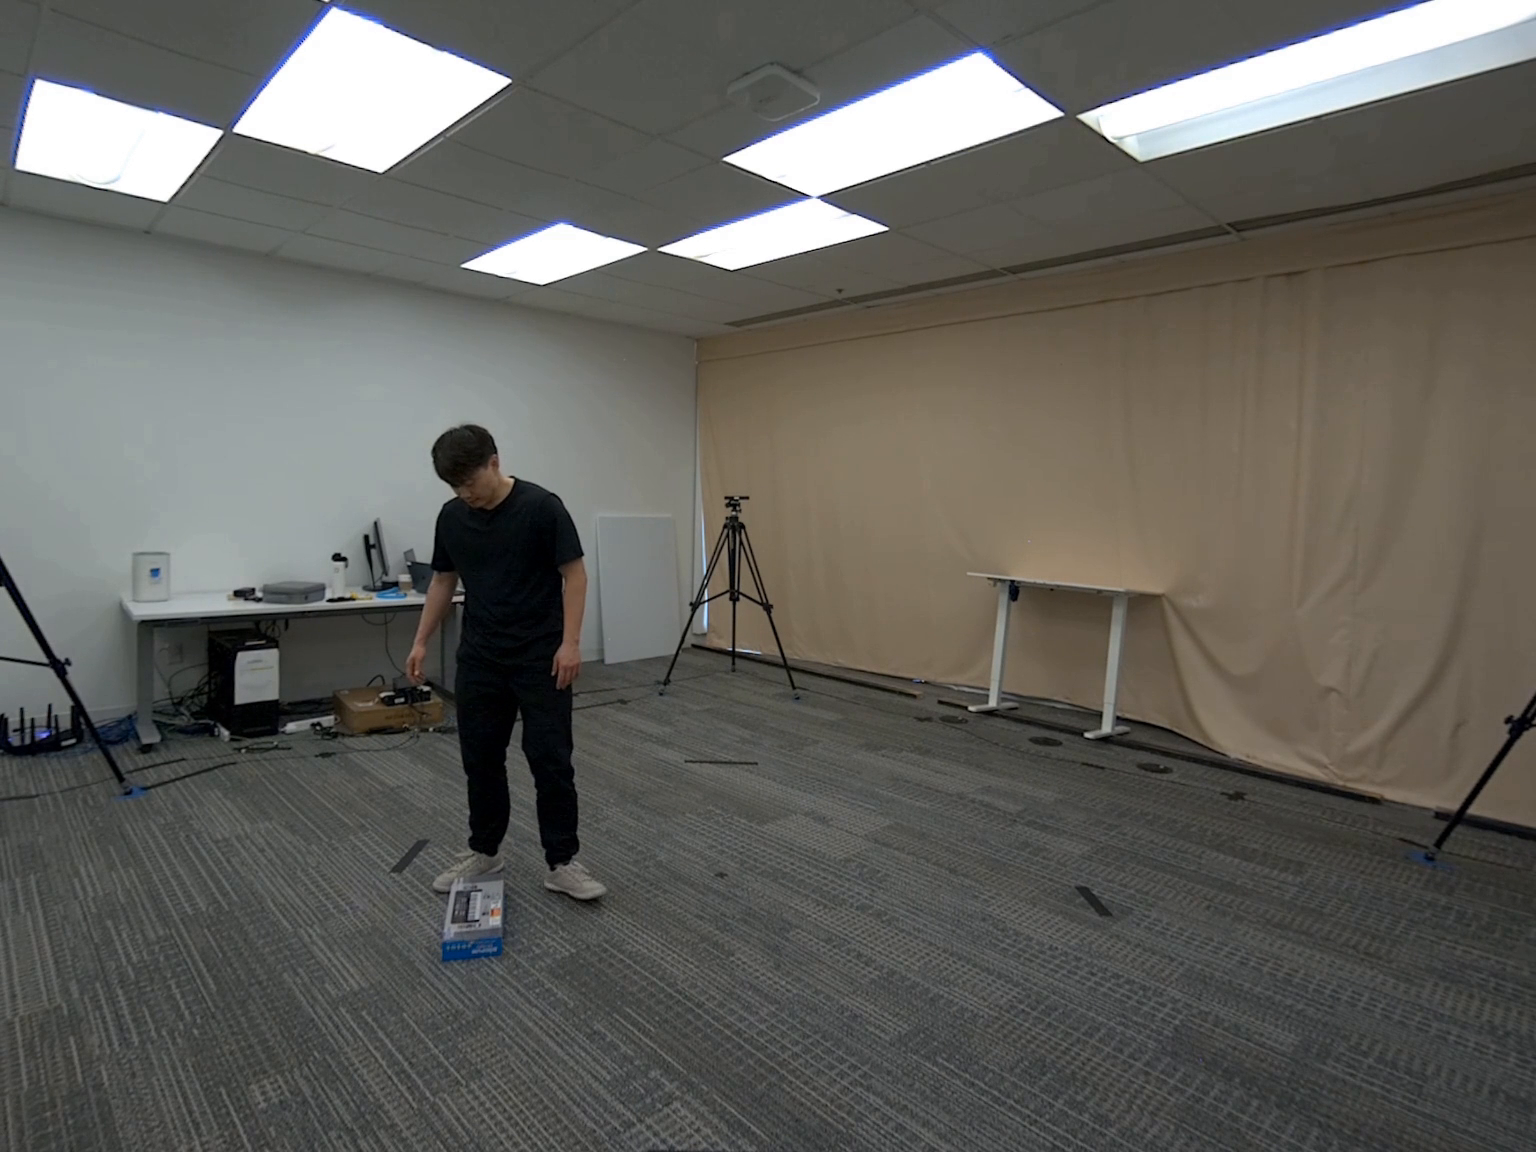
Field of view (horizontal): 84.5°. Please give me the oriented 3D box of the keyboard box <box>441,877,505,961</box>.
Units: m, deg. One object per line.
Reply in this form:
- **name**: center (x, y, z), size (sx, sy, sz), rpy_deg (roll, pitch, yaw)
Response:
- **keyboard box**: center (-0.952, 1.095, 2.715), size (0.174, 0.059, 0.443), rpy_deg (0, 5, -16)
